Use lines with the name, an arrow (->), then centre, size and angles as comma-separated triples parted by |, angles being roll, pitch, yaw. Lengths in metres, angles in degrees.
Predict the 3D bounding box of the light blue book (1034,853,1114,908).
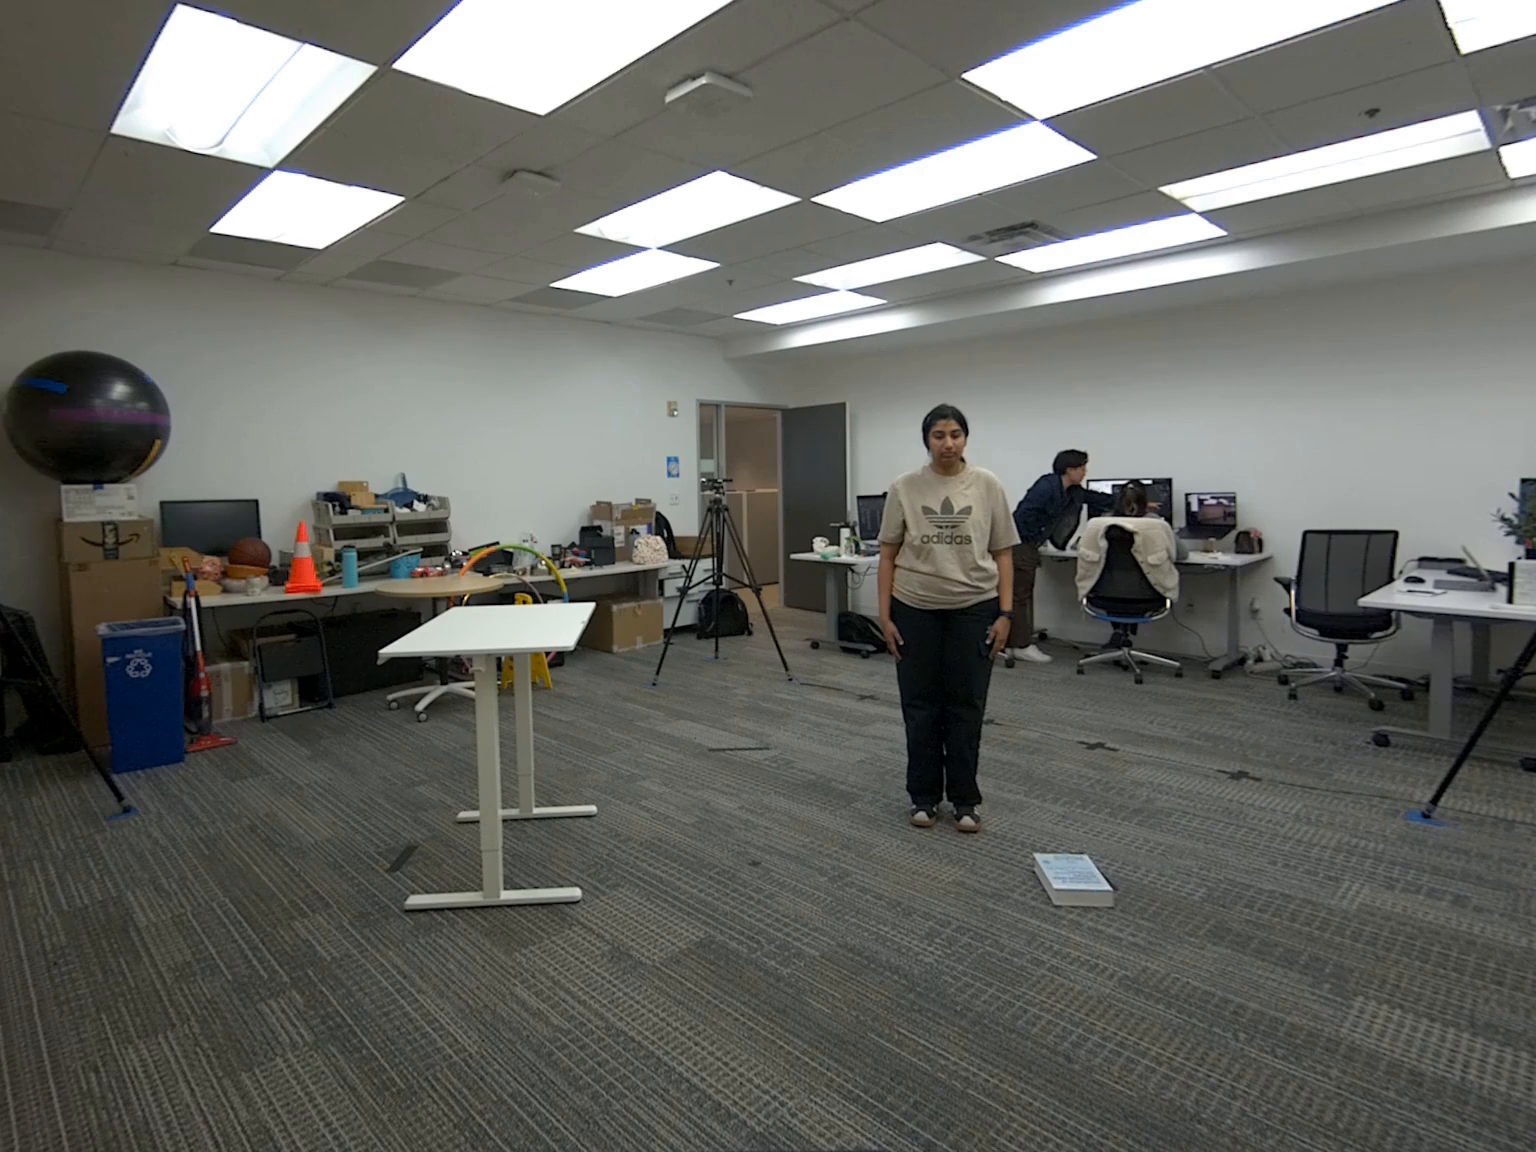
light blue book -> 1.013, 1.020, 2.880 | 0.192, 0.059, 0.261 | -1, 6, 3
